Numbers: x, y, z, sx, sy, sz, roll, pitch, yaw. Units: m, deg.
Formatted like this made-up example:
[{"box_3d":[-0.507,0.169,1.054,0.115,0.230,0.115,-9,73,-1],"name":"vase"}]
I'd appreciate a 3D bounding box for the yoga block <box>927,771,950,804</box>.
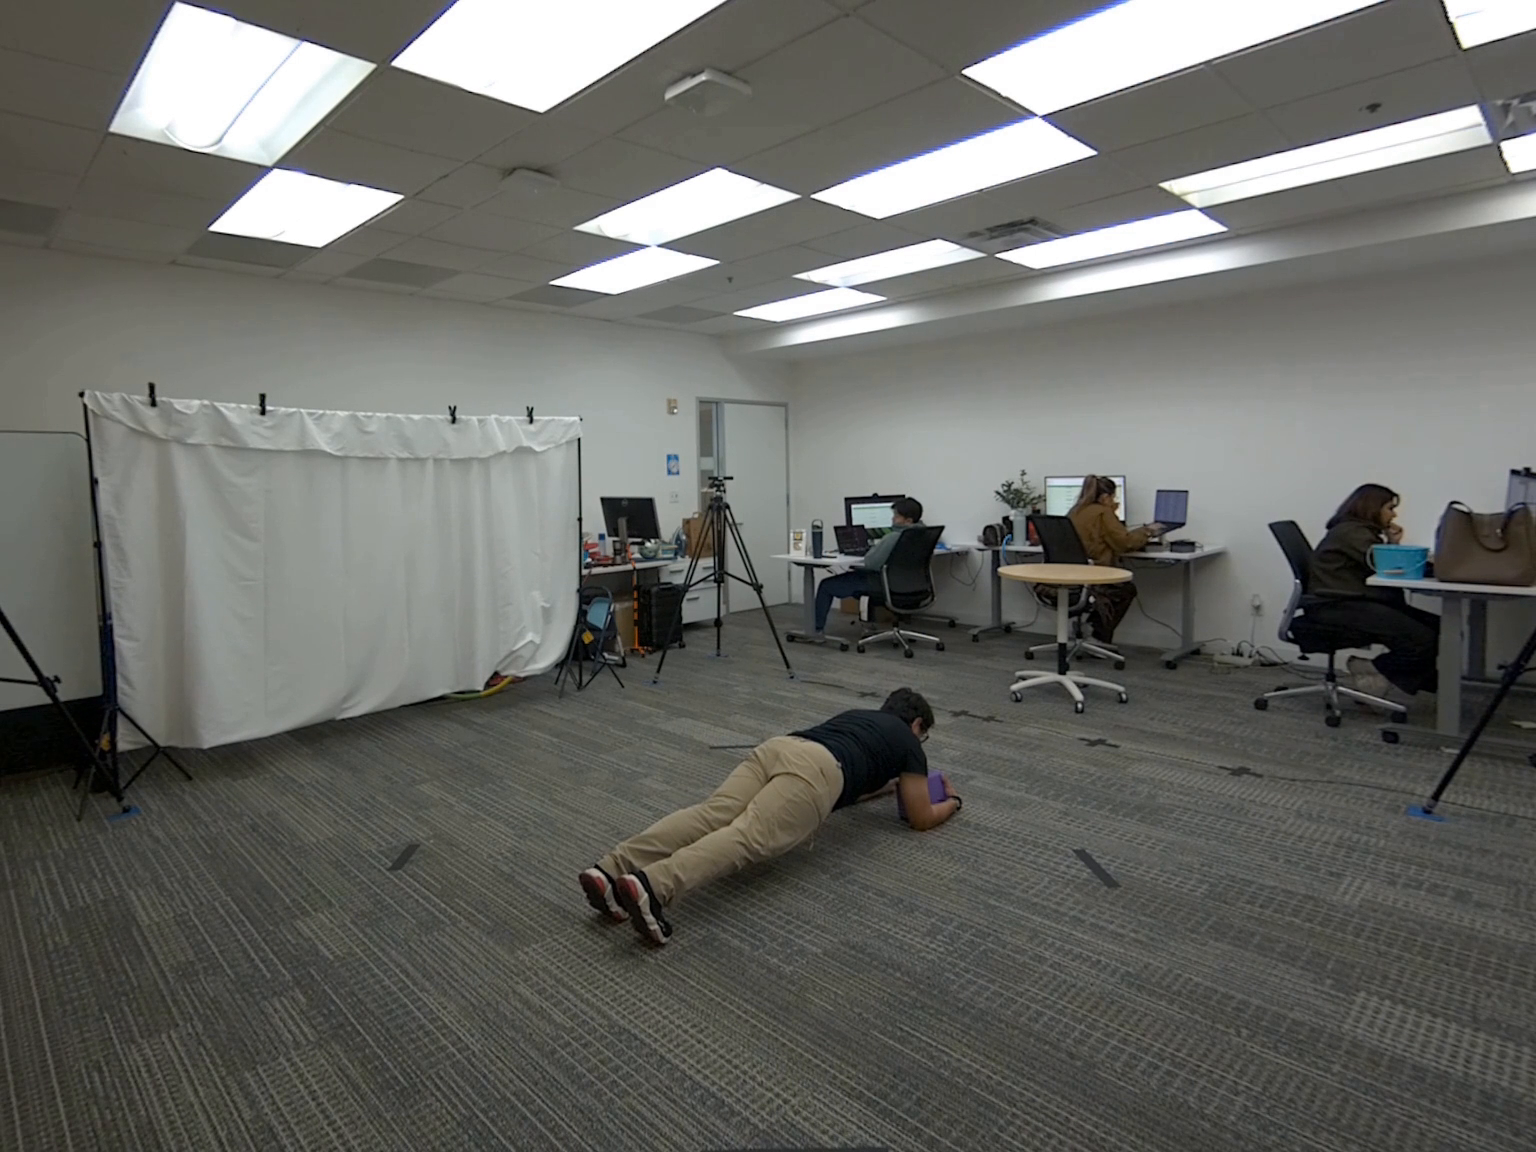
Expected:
[{"box_3d":[0.643,0.897,3.515,0.223,0.149,0.078,-4,-3,-38],"name":"yoga block"}]
